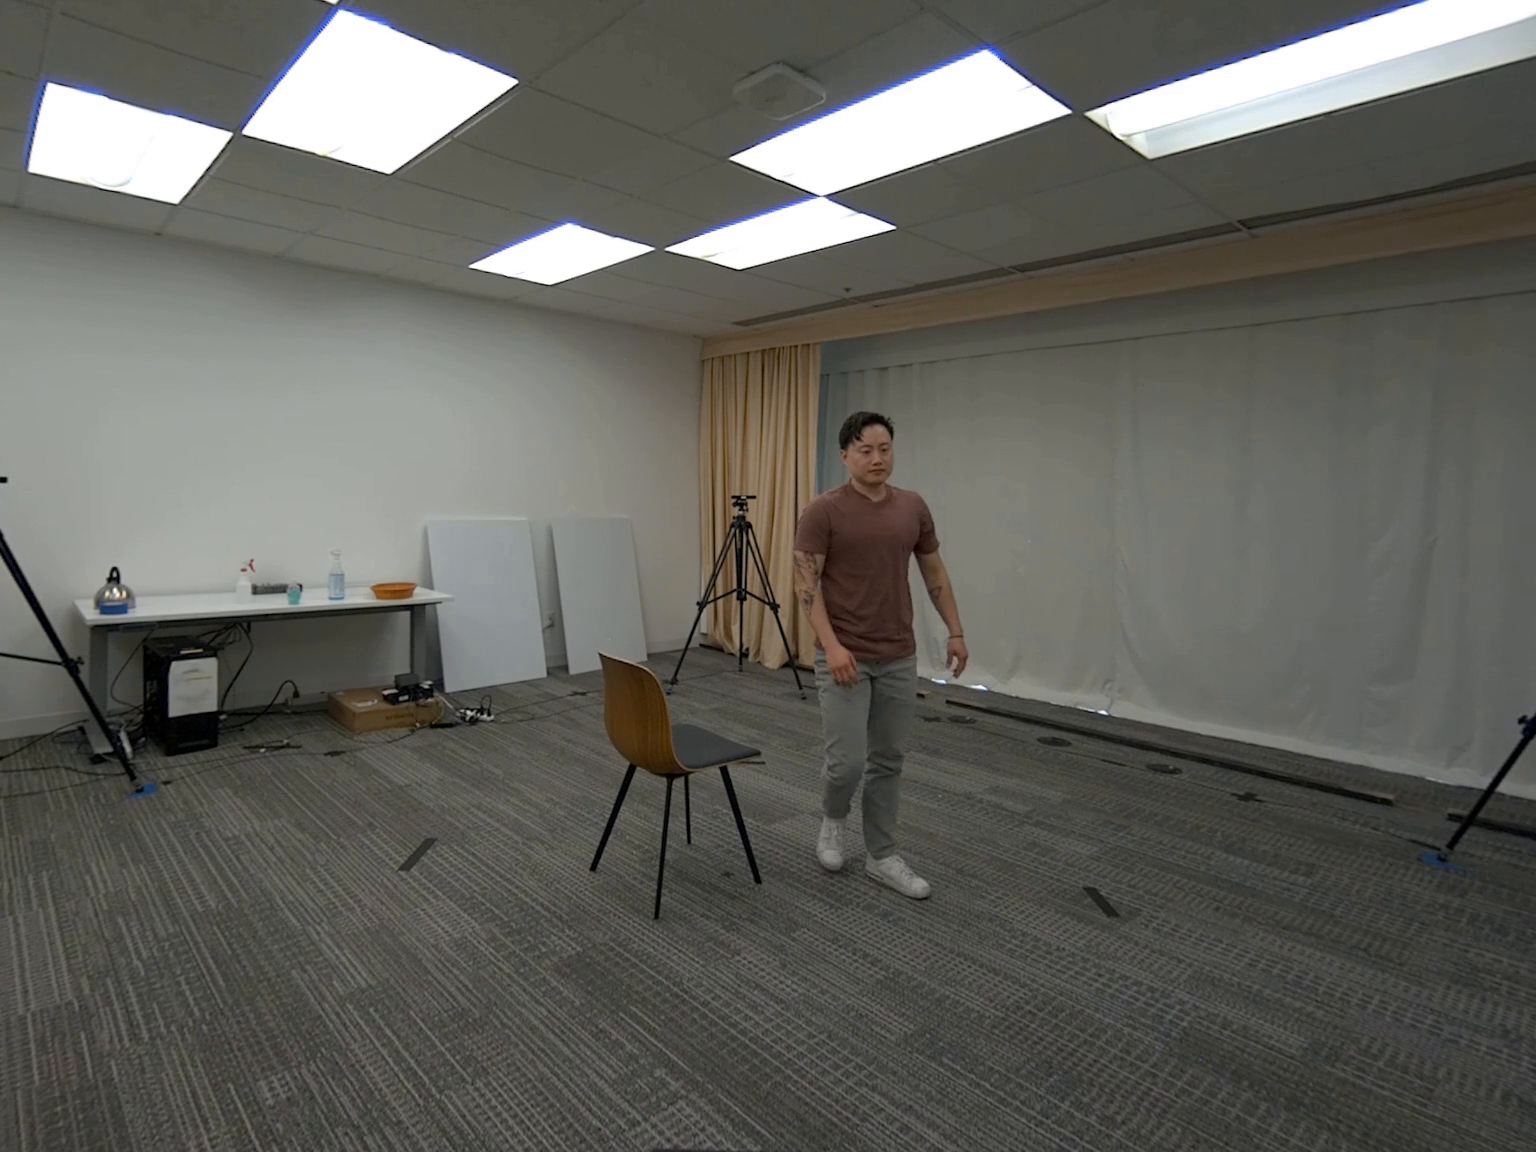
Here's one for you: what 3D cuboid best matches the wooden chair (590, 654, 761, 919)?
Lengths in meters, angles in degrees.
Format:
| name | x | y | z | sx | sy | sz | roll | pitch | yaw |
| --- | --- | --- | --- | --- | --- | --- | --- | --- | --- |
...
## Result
| name | x | y | z | sx | sy | sz | roll | pitch | yaw |
| --- | --- | --- | --- | --- | --- | --- | --- | --- | --- |
| wooden chair | -0.326 | 0.672 | 3.045 | 0.512 | 0.873 | 0.490 | -7 | 7 | -39 |
